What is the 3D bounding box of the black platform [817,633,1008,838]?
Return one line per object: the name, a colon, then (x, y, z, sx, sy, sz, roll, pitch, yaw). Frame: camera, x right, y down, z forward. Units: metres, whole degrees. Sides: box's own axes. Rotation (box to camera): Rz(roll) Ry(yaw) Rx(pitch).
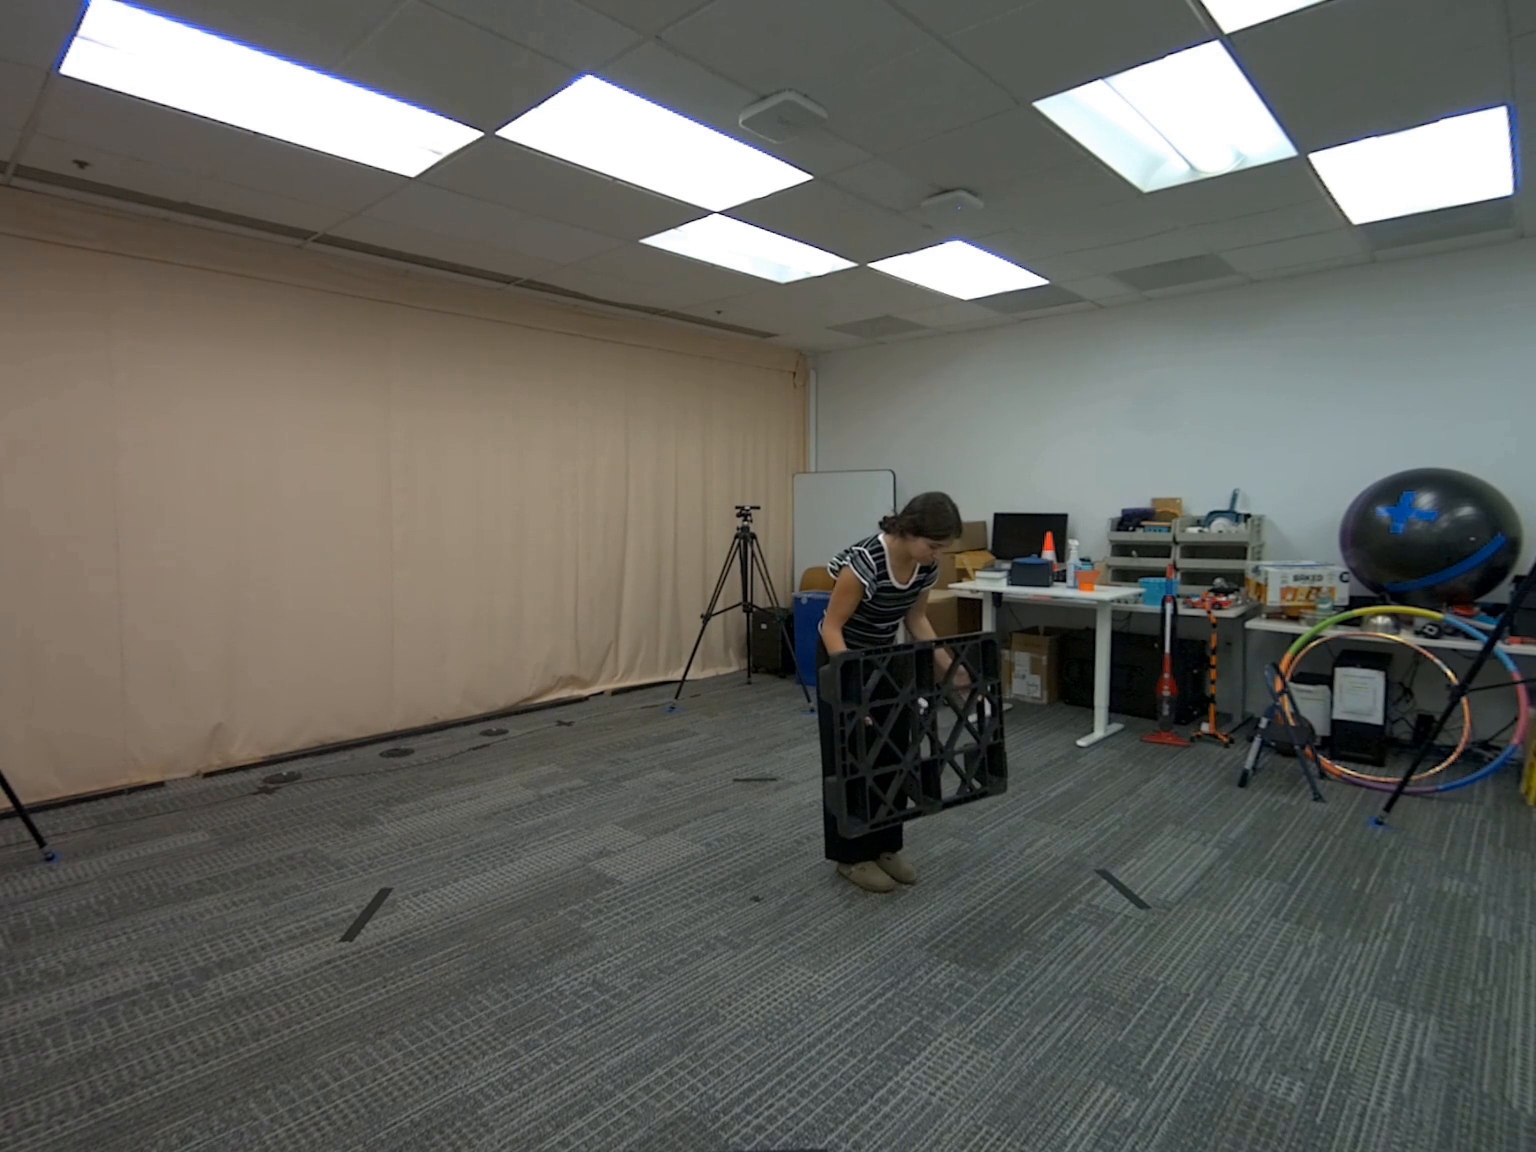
black platform: (0.526, 0.527, 2.961, 0.783, 0.605, 0.147, -4, 1, -33)
